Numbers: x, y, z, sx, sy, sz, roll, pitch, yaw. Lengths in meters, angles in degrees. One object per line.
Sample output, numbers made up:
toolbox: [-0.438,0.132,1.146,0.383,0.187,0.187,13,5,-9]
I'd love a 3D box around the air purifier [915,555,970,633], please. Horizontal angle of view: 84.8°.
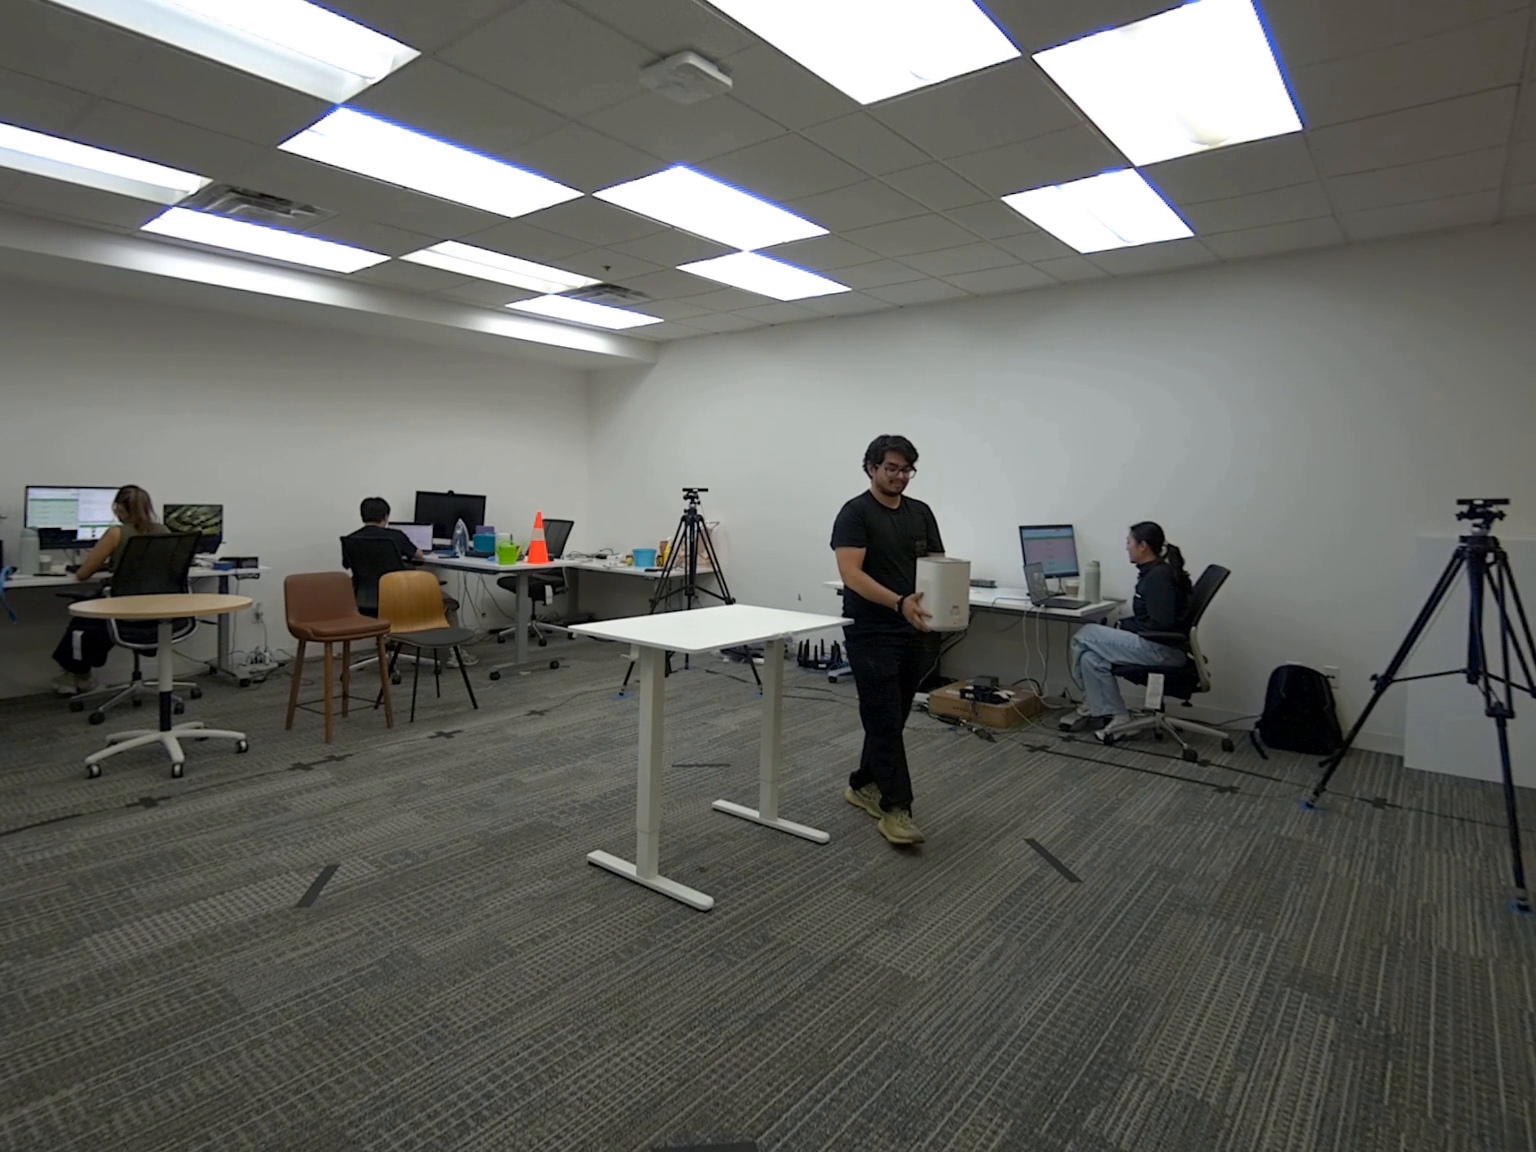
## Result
air purifier: [0.657,0.062,3.240,0.168,0.264,0.175,0,4,-20]
